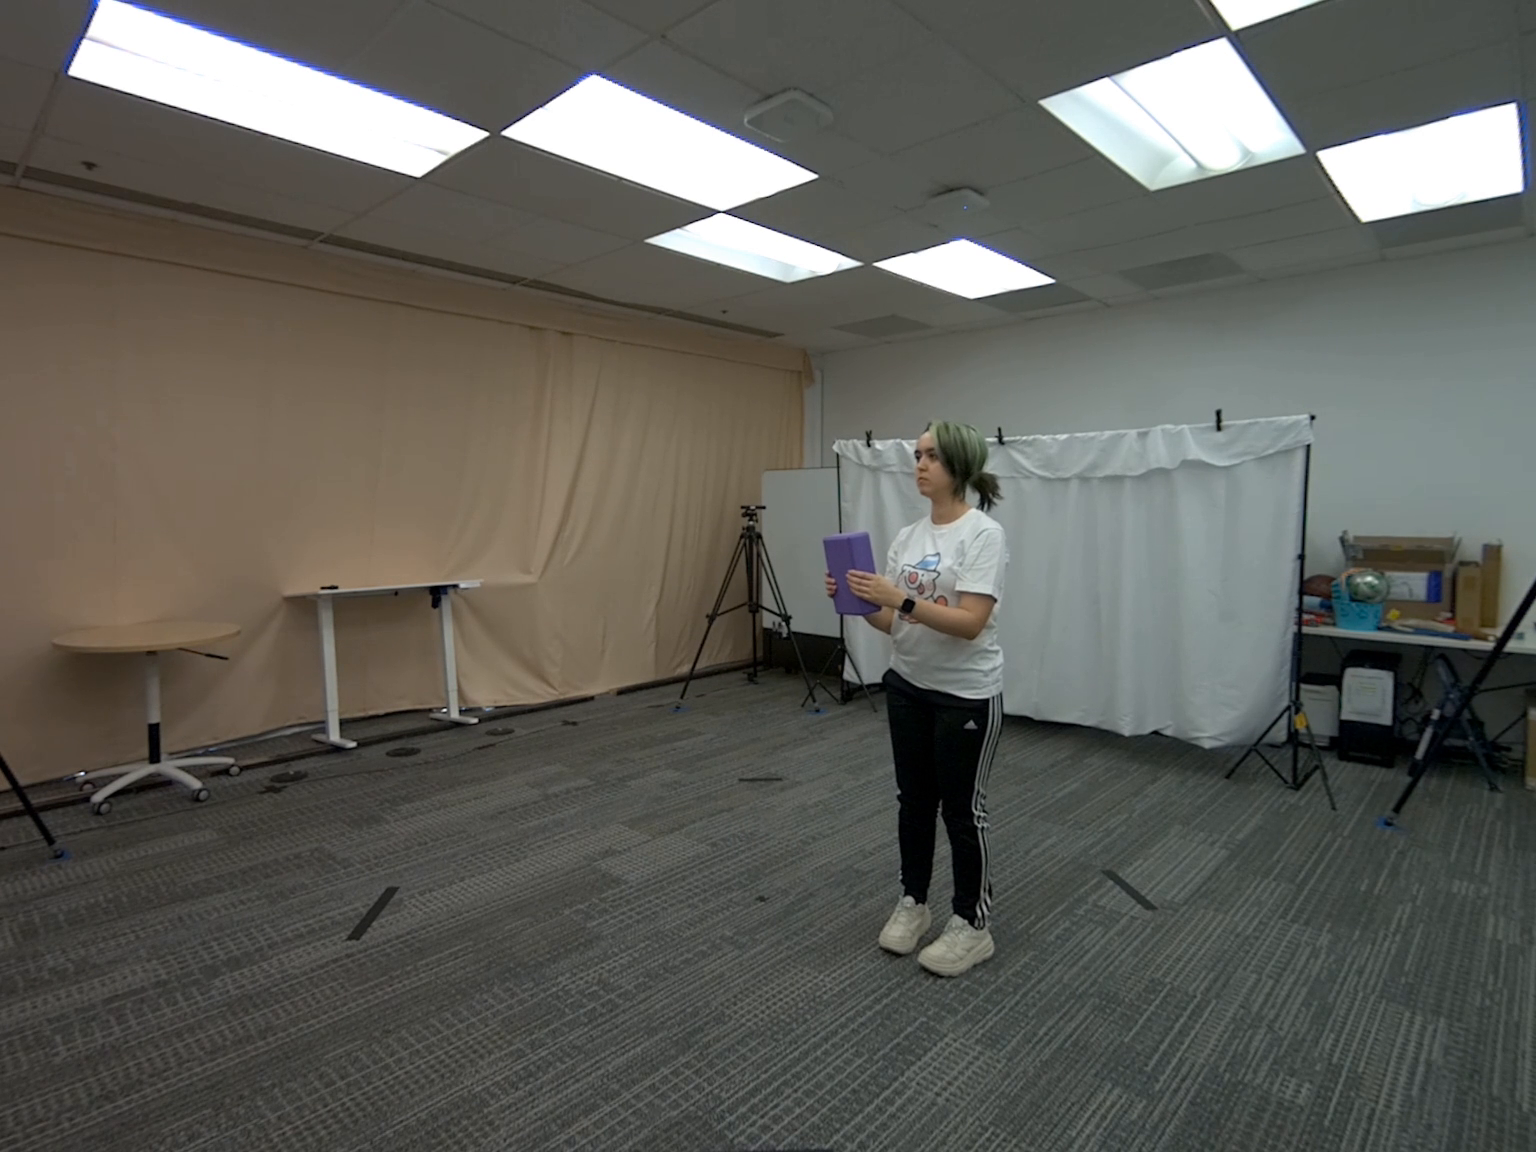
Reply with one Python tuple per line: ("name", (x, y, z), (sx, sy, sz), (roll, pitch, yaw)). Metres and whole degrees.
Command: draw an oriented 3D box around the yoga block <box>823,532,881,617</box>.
("yoga block", (0.249, -0.006, 2.408), (0.075, 0.229, 0.152), (-14, 3, -21))
